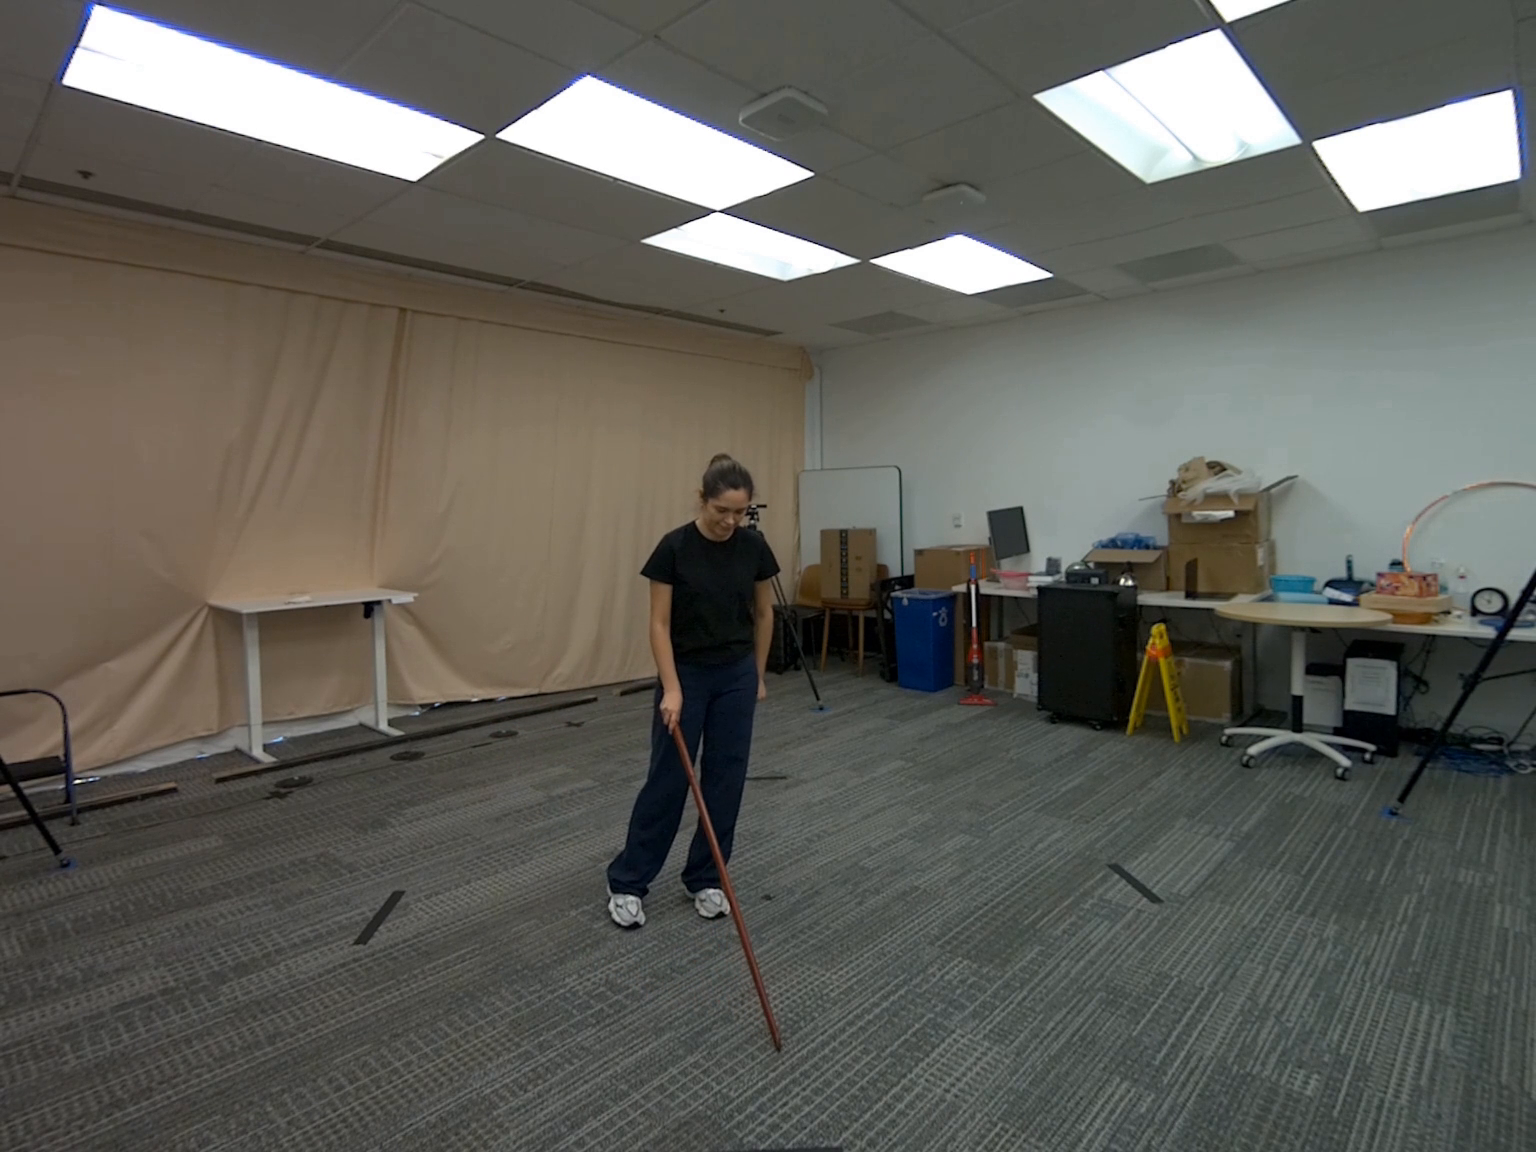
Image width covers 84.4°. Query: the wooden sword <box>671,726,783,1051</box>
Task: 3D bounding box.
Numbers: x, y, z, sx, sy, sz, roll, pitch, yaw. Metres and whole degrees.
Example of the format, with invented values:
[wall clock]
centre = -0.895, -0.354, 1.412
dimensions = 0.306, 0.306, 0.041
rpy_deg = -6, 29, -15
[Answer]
[wooden sword]
centre = -0.127, 0.799, 2.450
dimensions = 0.051, 1.054, 0.023
rpy_deg = -32, -36, 11
